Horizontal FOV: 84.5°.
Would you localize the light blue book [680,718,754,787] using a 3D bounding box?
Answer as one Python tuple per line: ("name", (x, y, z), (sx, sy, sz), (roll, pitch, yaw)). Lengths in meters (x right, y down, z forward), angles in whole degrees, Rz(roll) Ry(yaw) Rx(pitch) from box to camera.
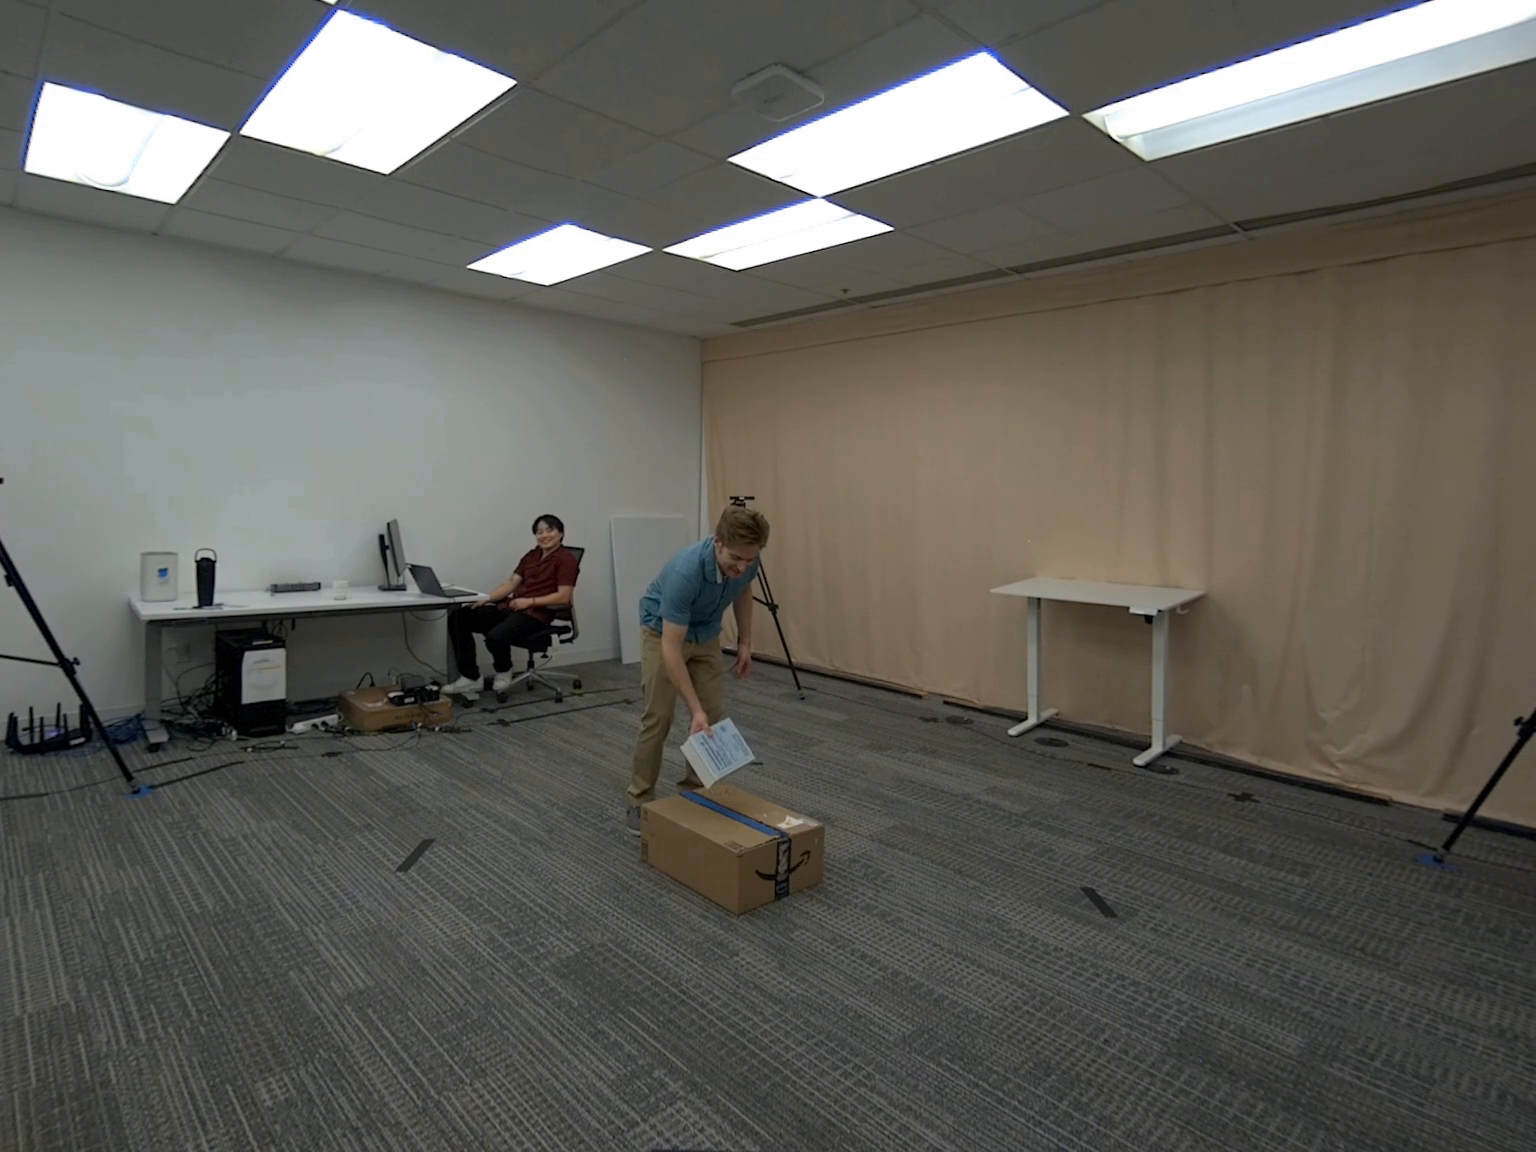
("light blue book", (-0.205, 0.664, 3.172), (0.059, 0.194, 0.256), (-45, -17, 30))
